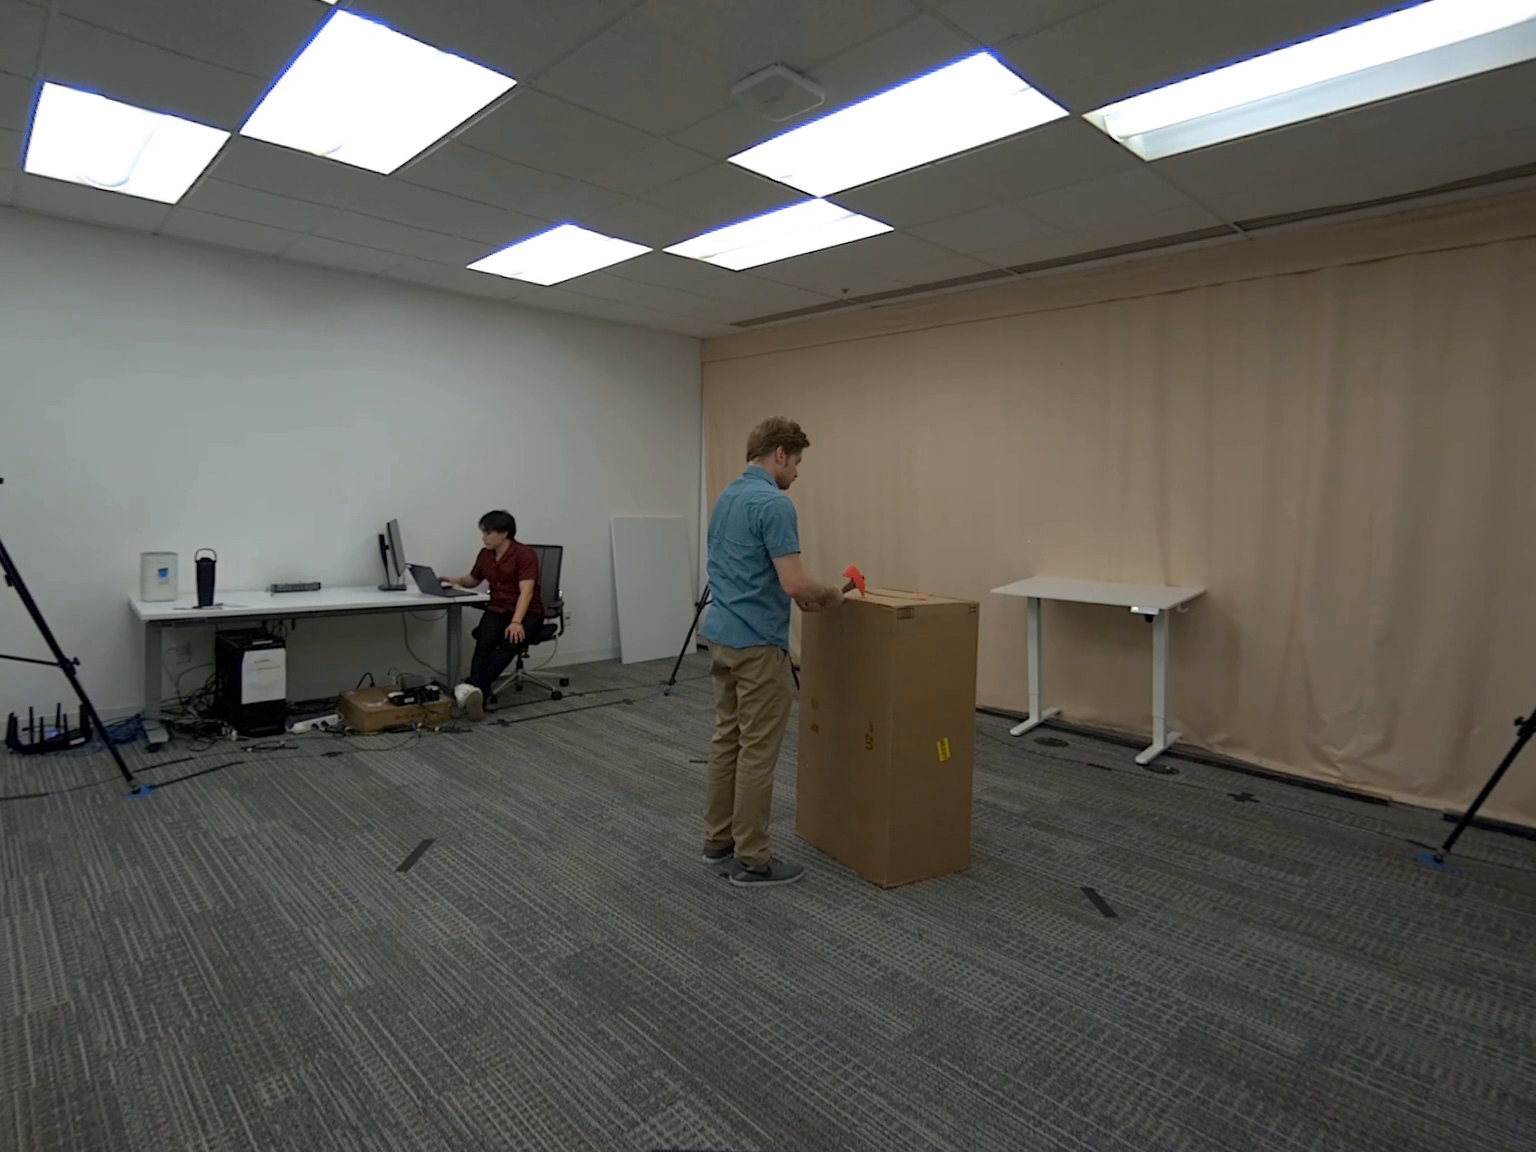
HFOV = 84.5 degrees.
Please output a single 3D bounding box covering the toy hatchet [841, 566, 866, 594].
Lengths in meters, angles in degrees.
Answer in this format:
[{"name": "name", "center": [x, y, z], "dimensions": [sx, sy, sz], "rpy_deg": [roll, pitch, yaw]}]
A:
[{"name": "toy hatchet", "center": [0.244, 0.028, 3.221], "dimensions": [0.267, 0.129, 0.030], "rpy_deg": [-8, 17, -19]}]
